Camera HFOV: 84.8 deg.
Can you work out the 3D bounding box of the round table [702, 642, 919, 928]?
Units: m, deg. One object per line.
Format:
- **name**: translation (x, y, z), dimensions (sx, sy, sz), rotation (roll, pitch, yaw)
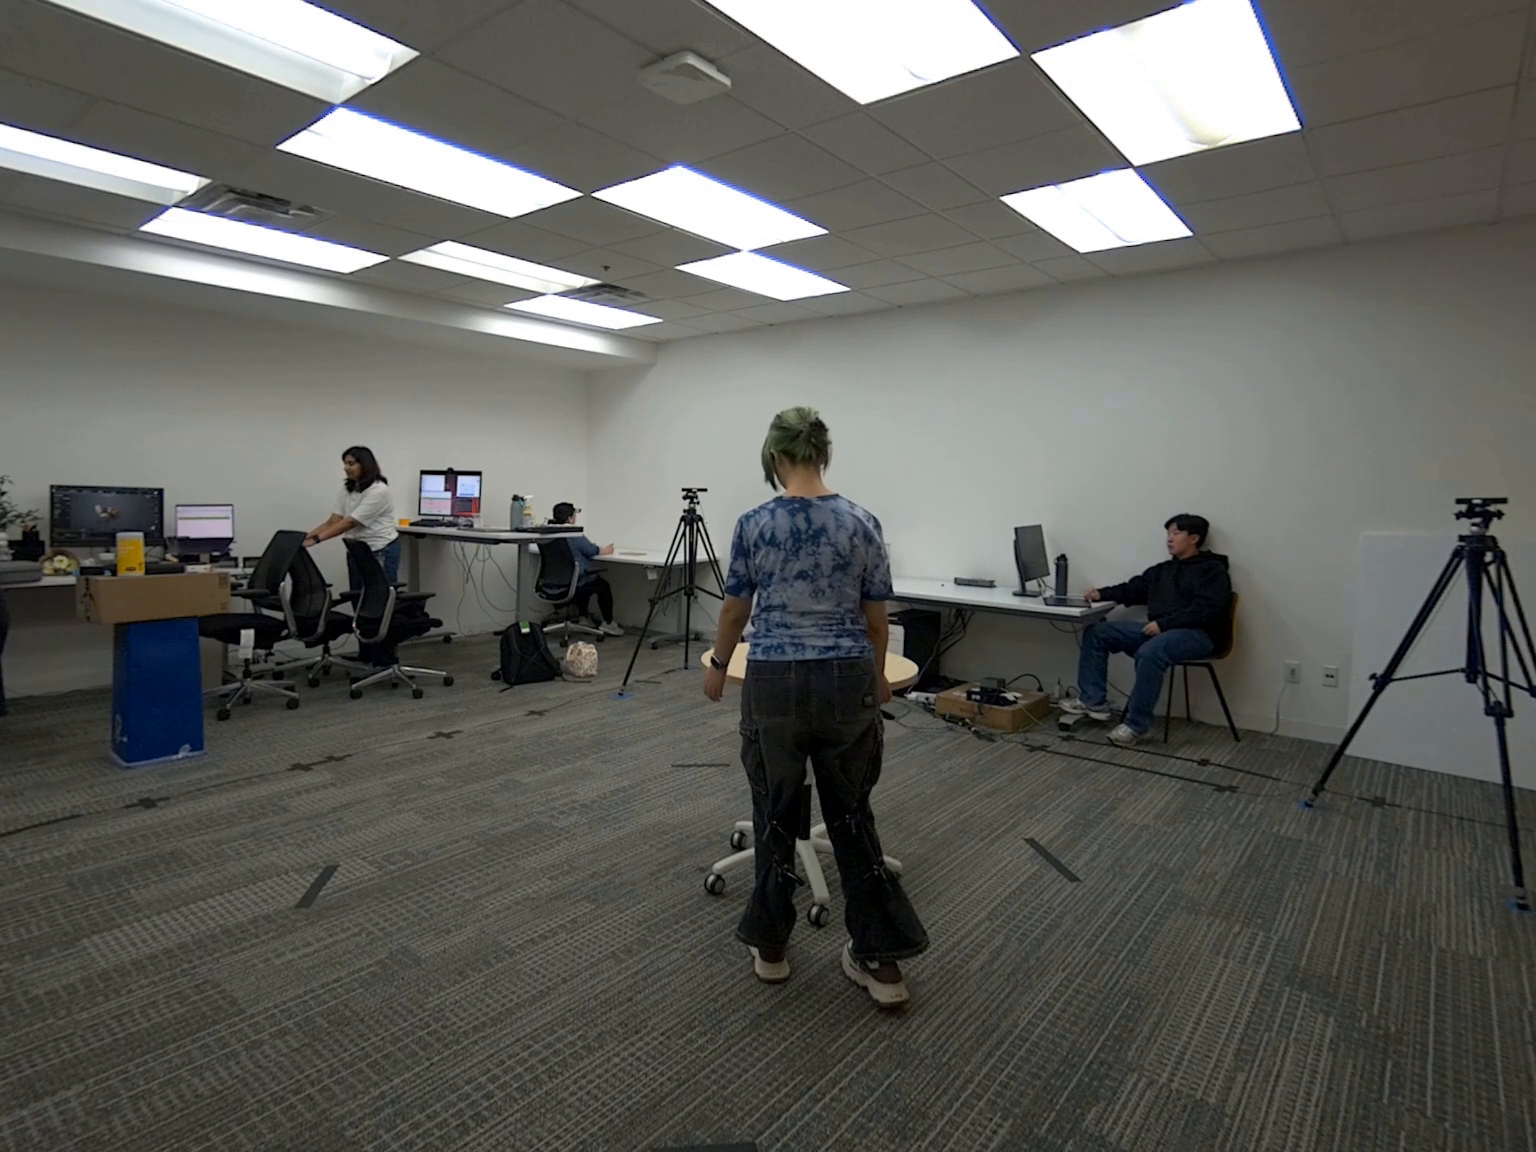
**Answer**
- **round table**: translation (0.116, 0.690, 3.052), dimensions (0.763, 0.791, 0.768), rotation (1, 4, -2)
